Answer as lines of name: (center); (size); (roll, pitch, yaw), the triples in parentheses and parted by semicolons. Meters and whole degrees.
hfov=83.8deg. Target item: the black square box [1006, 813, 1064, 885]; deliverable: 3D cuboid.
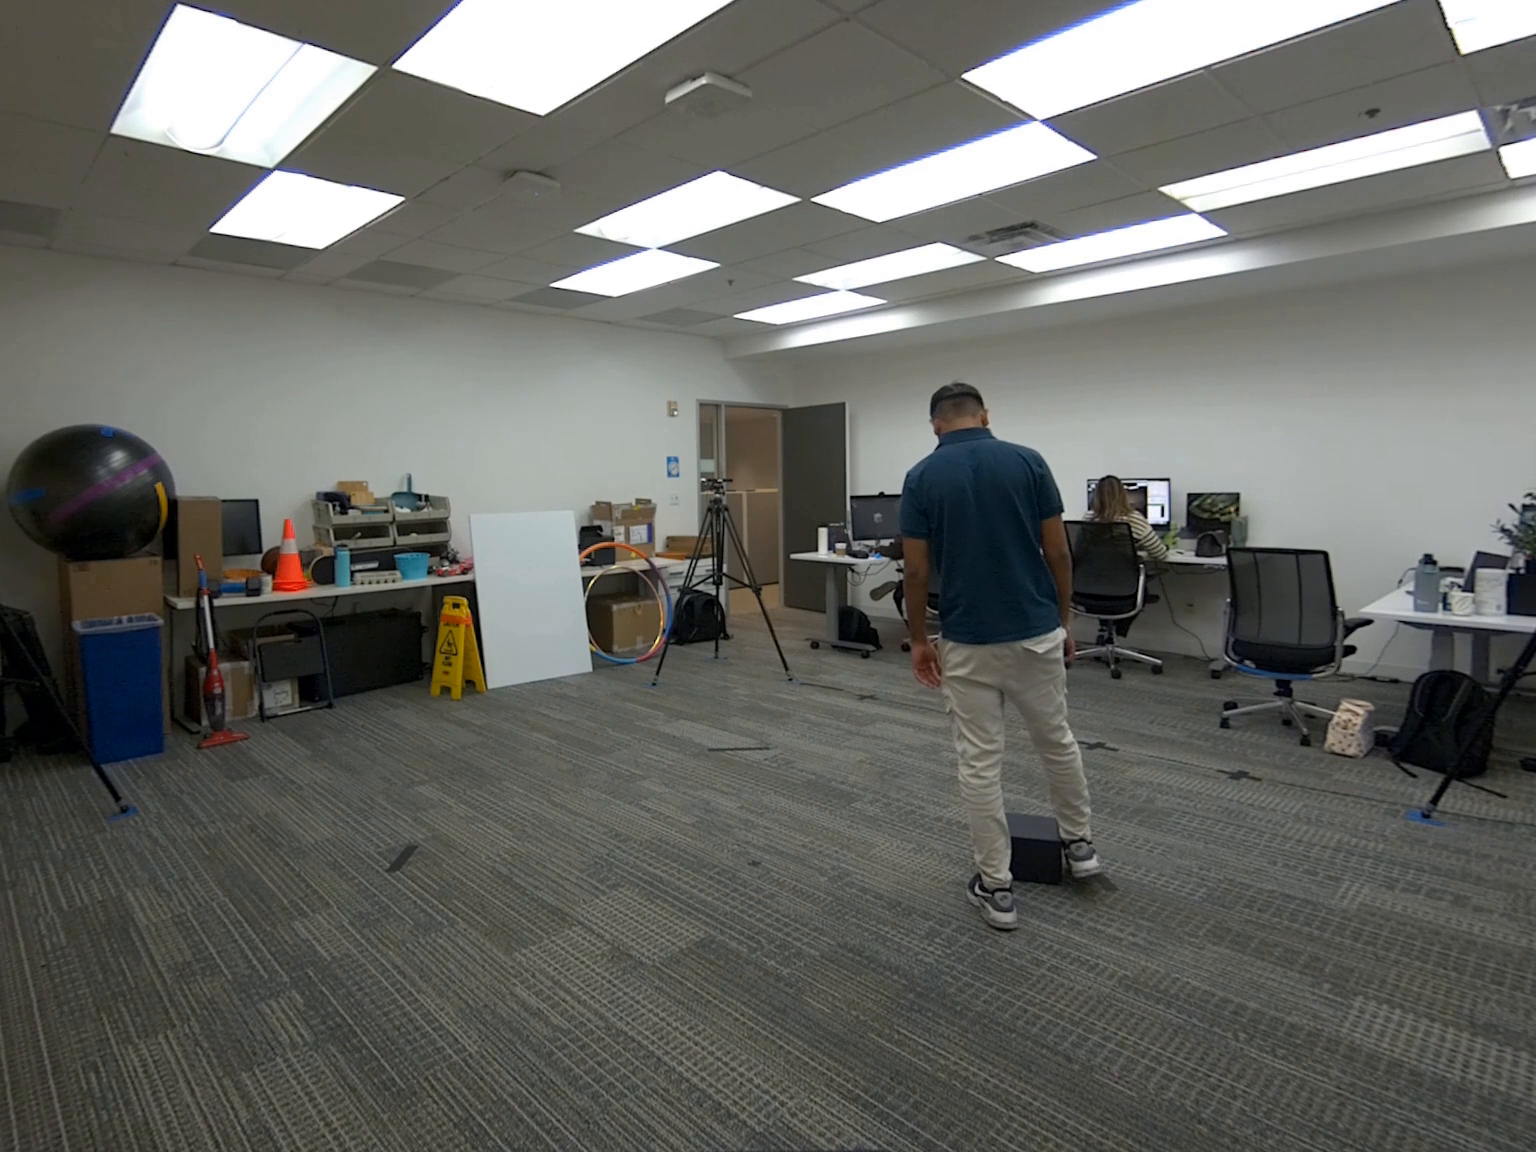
black square box: (0.909, 0.955, 3.026); (0.232, 0.155, 0.214); (1, 6, 17)
